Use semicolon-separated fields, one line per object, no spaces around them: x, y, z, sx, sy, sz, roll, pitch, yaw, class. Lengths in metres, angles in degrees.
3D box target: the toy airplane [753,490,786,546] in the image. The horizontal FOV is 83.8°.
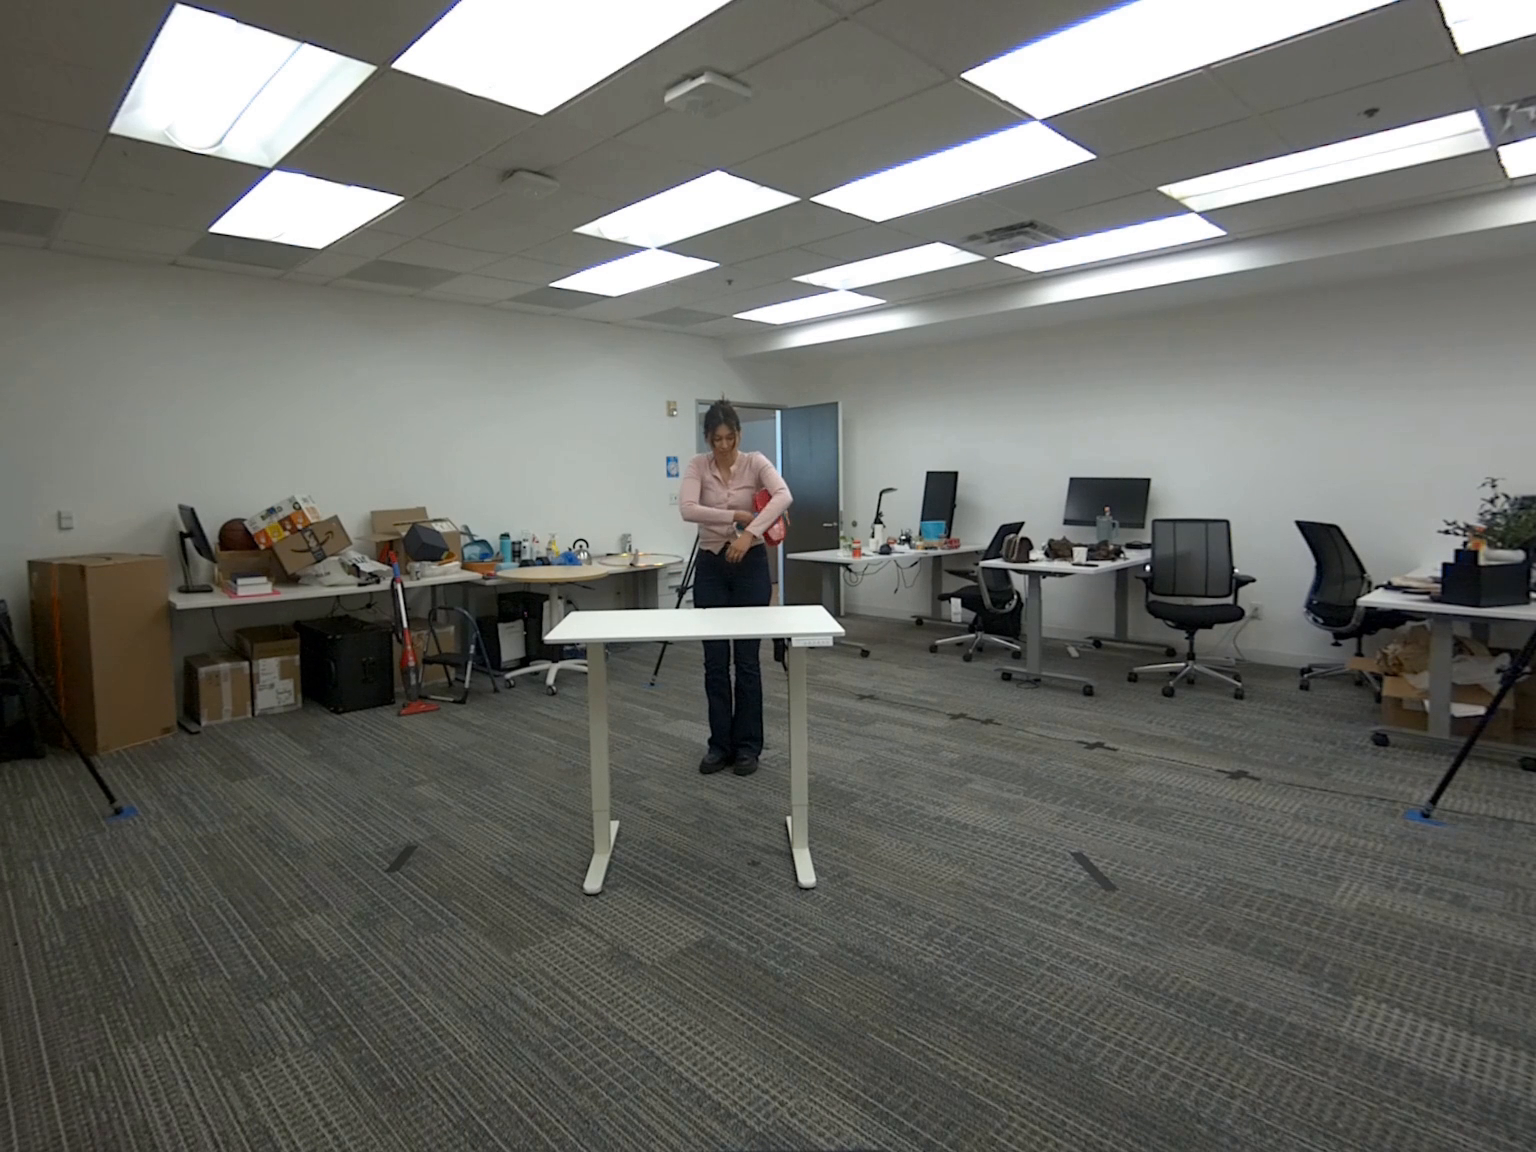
-0.040;-0.233;3.982;0.259;0.250;0.157;-45;4;-28;toy airplane
